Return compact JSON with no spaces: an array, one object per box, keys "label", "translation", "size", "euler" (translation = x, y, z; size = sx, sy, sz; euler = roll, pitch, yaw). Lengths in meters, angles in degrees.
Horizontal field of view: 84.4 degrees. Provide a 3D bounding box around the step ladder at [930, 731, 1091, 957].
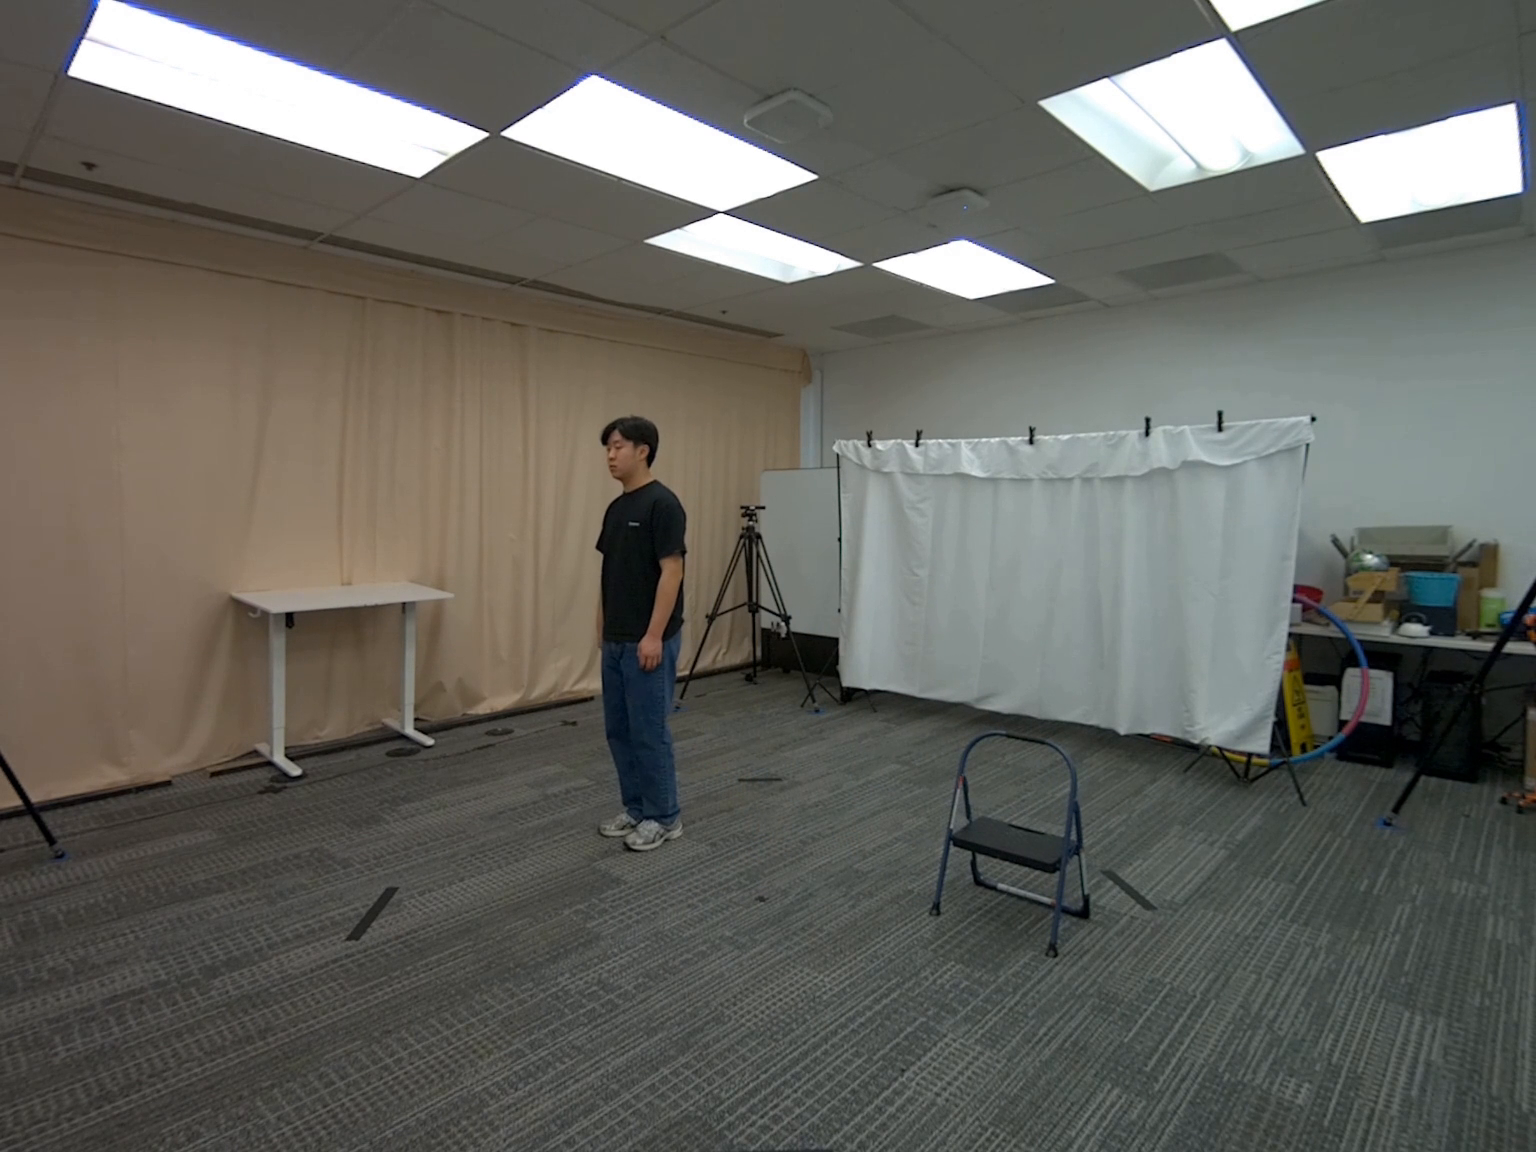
[{"label":"step ladder","translation":[0.827,0.850,2.840],"size":[0.445,0.605,0.339],"euler":[3,4,40]}]
